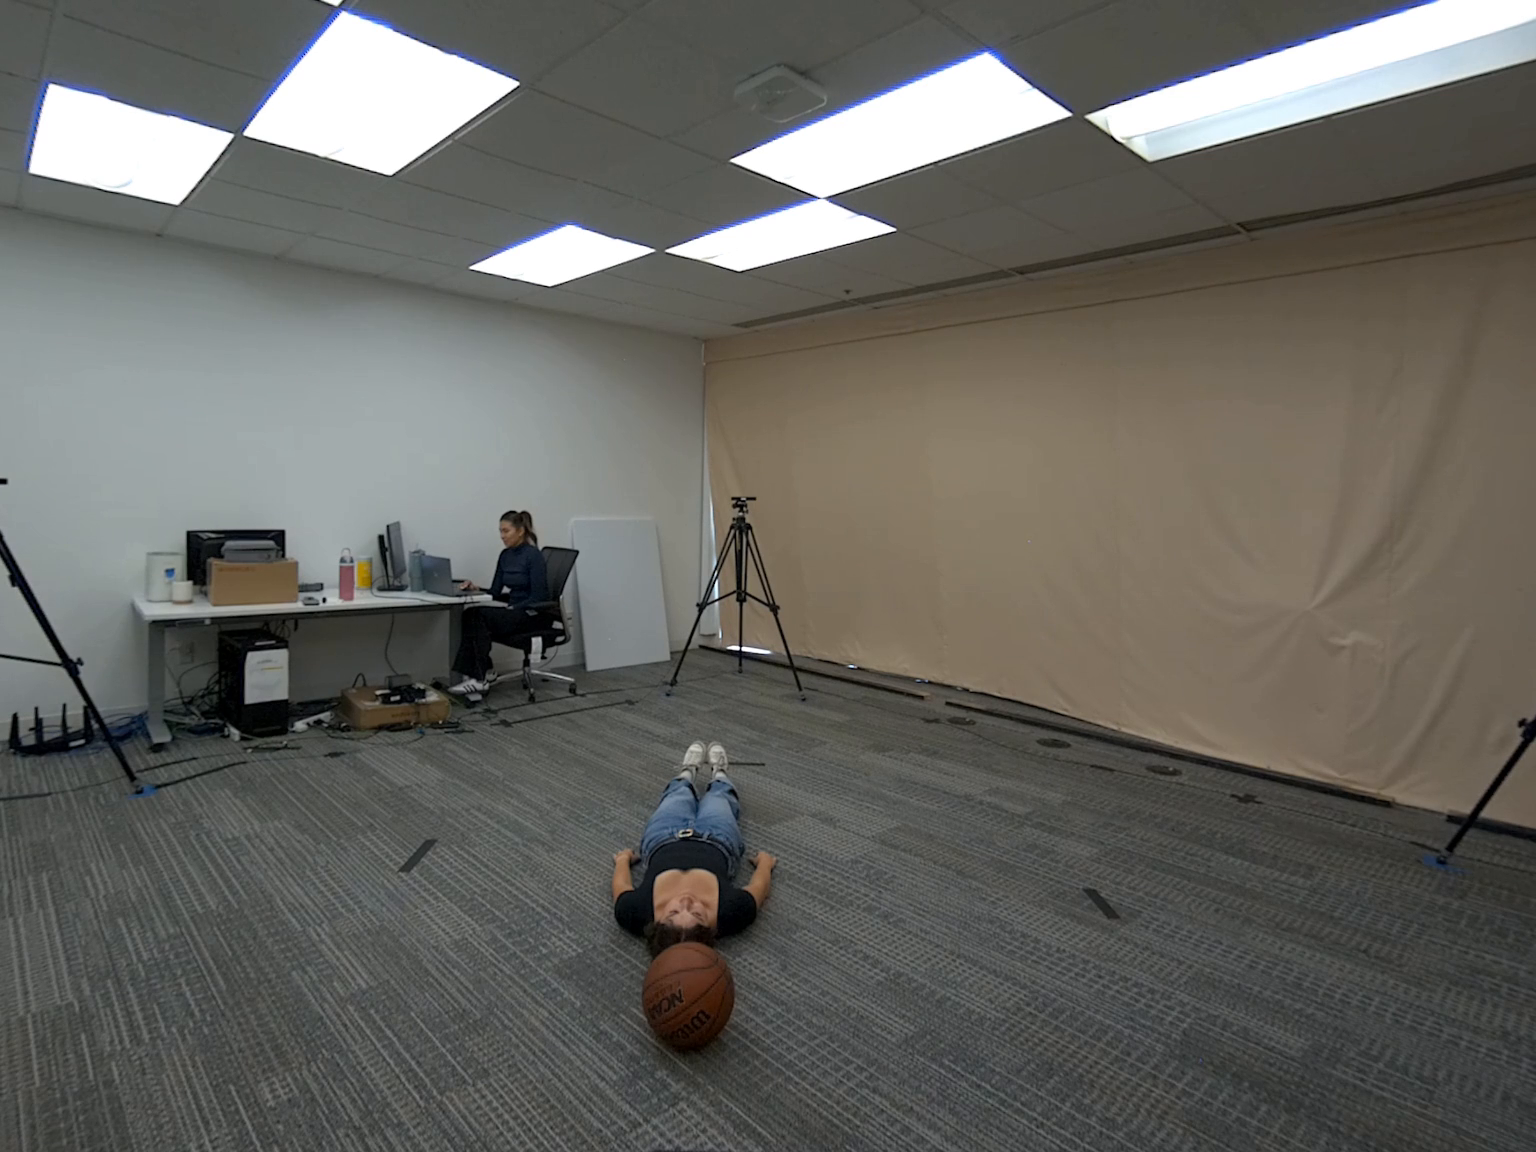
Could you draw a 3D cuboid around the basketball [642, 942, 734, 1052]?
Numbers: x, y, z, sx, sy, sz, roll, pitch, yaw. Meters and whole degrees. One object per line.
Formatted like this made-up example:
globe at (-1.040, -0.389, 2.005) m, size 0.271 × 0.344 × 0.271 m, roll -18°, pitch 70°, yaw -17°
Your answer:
basketball at (-0.210, 1.072, 2.155) m, size 0.236 × 0.235 × 0.237 m, roll 1°, pitch 4°, yaw -1°
